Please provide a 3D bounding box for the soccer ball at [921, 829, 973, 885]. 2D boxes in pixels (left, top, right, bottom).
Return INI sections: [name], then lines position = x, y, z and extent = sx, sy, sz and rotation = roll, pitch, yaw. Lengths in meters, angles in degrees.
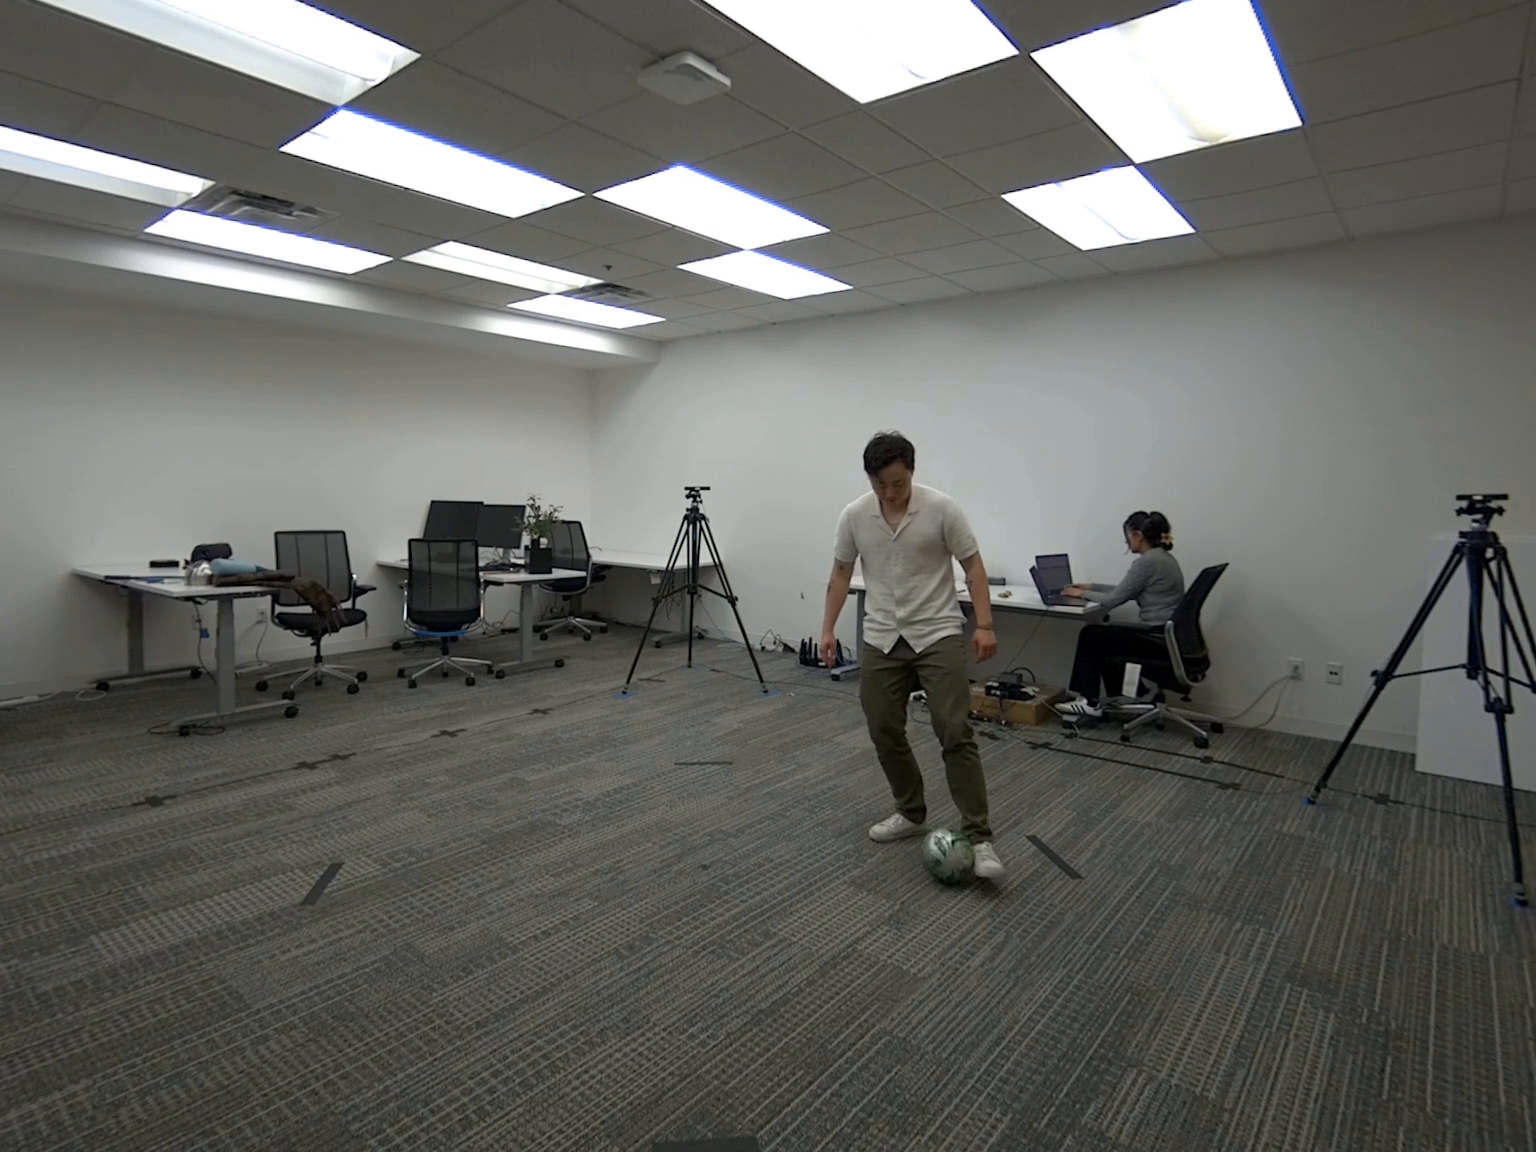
[soccer ball]
position = 0.606, 0.994, 3.054
extent = 0.187, 0.187, 0.188
rotation = 0, 4, -2
